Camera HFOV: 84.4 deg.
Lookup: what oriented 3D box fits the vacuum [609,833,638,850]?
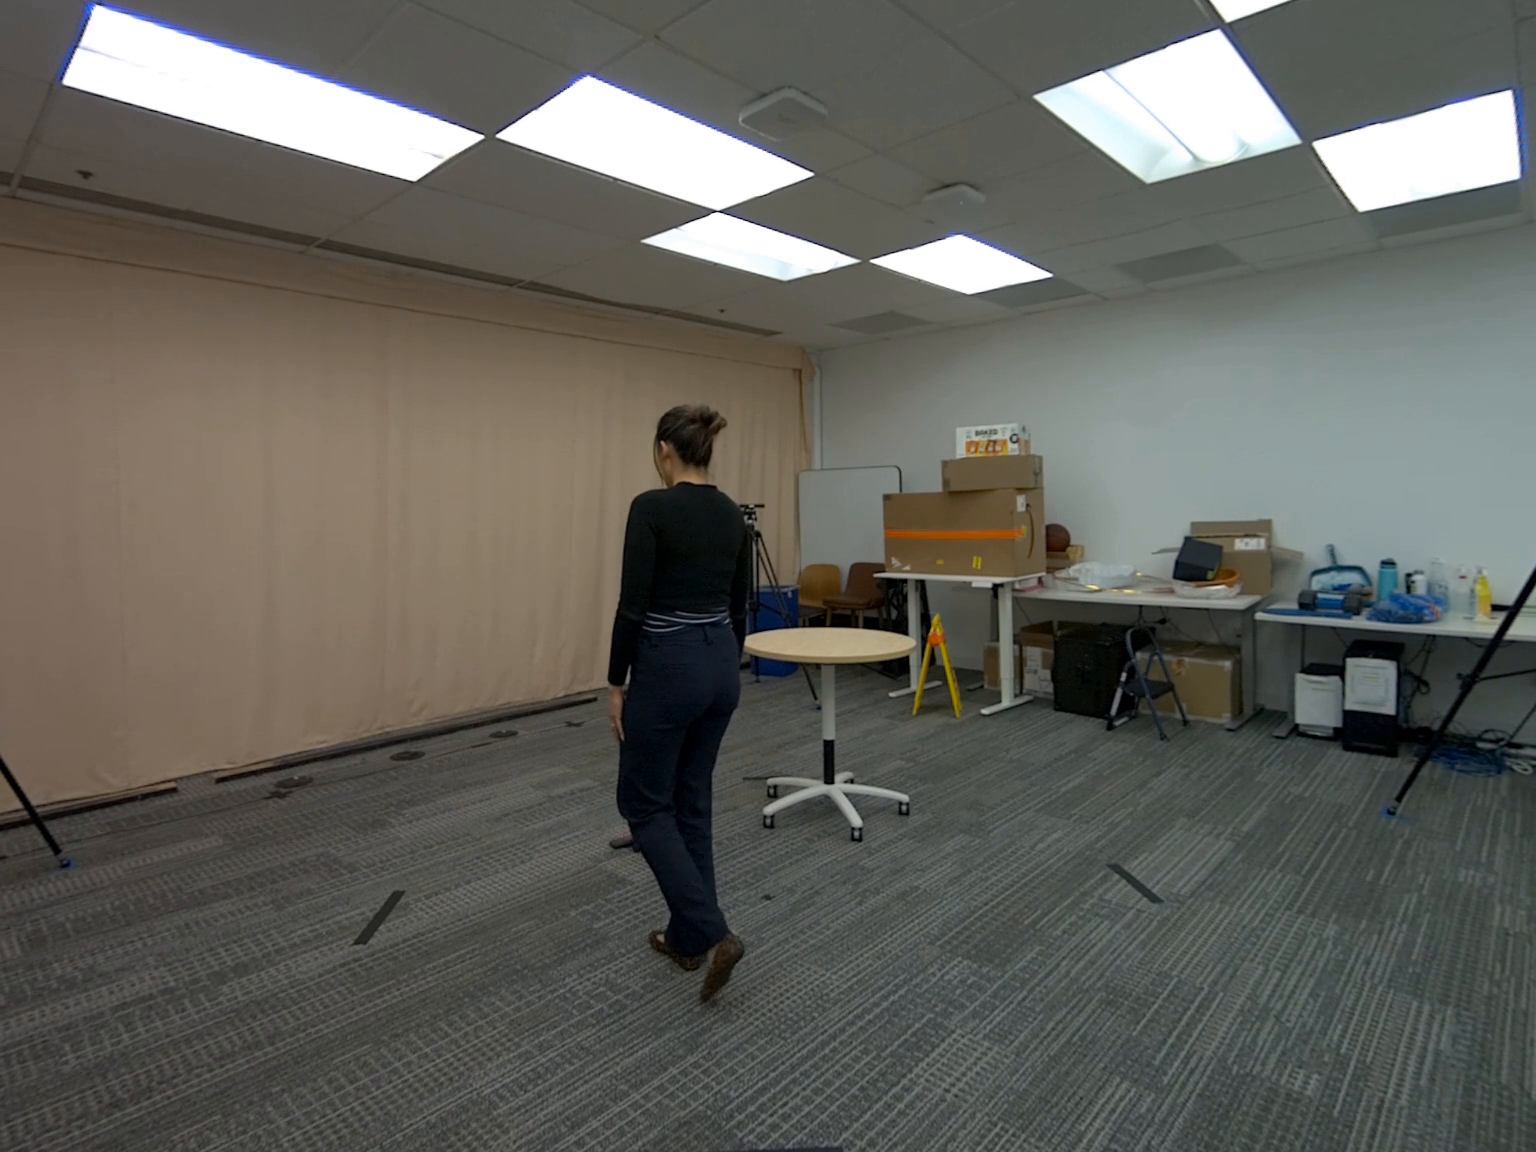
[{"bbox_3d":[-0.328,0.764,3.139,0.246,0.148,1.048,-11,-34,-37],"label":"vacuum"}]
